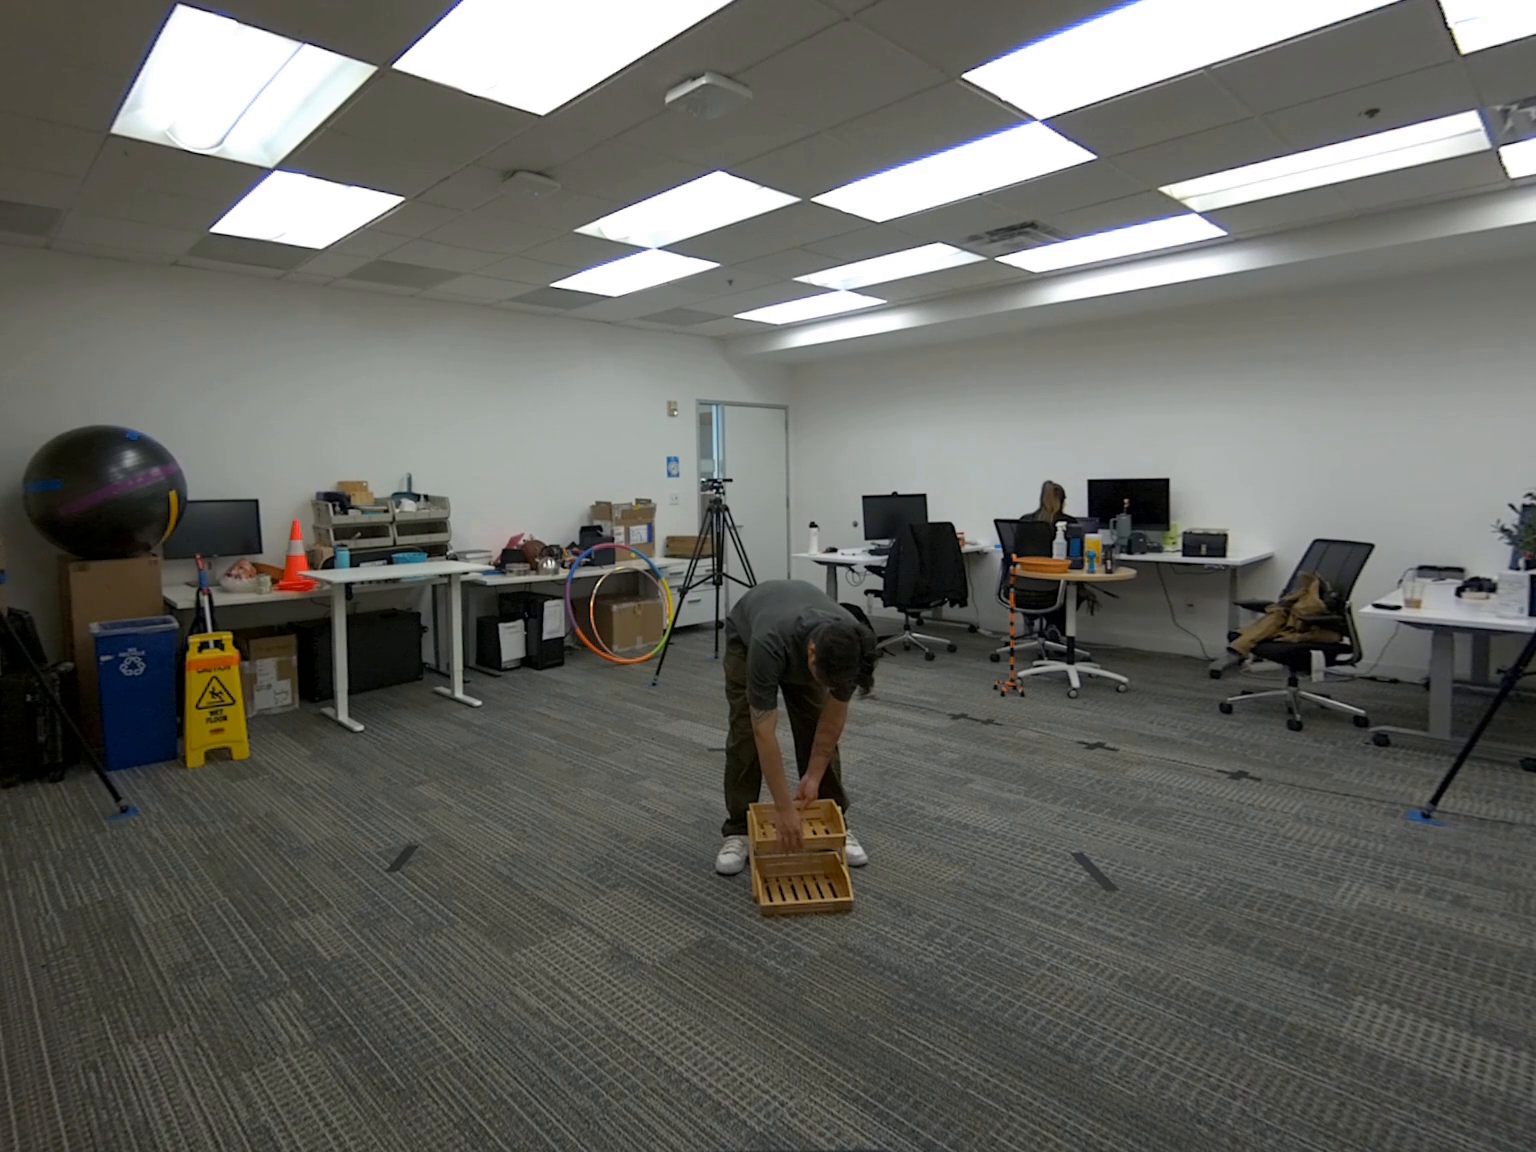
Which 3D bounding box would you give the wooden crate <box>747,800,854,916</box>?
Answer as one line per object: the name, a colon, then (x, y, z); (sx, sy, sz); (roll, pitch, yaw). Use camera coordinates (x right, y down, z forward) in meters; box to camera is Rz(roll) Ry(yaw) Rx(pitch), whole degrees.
wooden crate: (0.099, 0.939, 2.859); (0.322, 0.272, 0.305); (-2, 6, -7)
